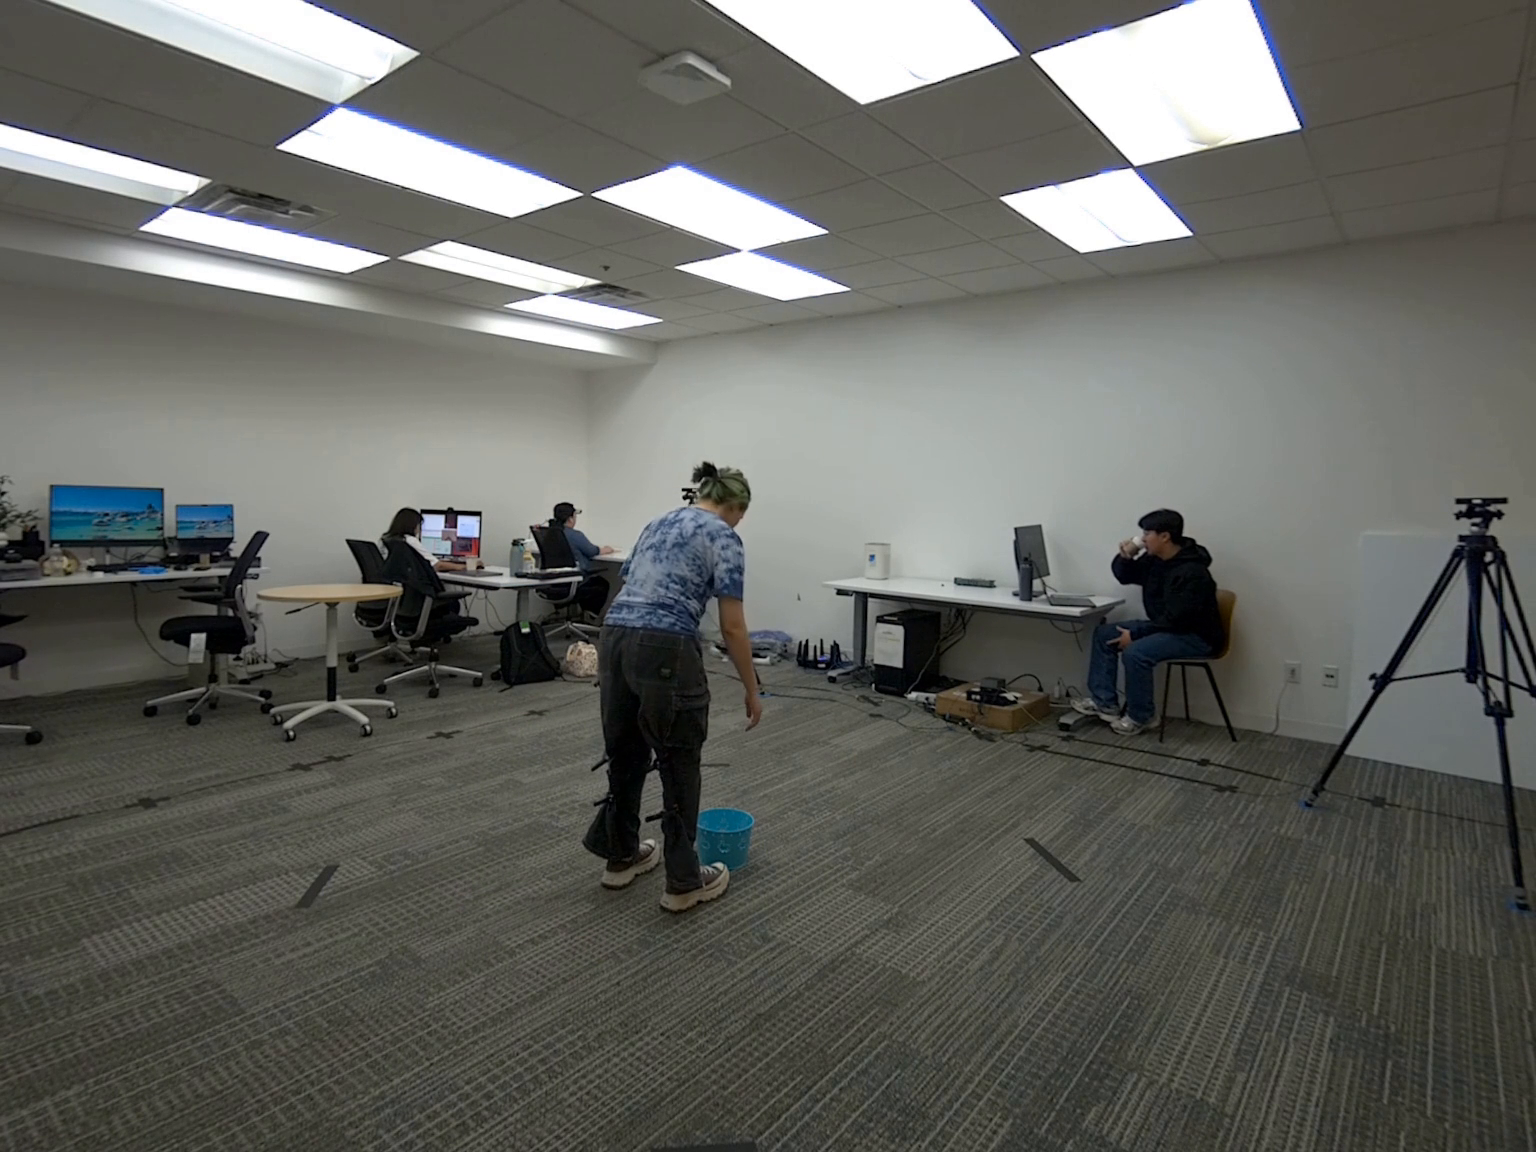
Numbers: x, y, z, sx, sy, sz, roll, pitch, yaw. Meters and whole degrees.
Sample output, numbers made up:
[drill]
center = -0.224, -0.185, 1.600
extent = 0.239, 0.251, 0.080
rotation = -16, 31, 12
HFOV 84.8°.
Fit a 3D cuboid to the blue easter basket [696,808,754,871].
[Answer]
[blue easter basket]
center = -0.180, 0.984, 3.191
extent = 0.243, 0.155, 0.245
rotation = 1, 4, -2
